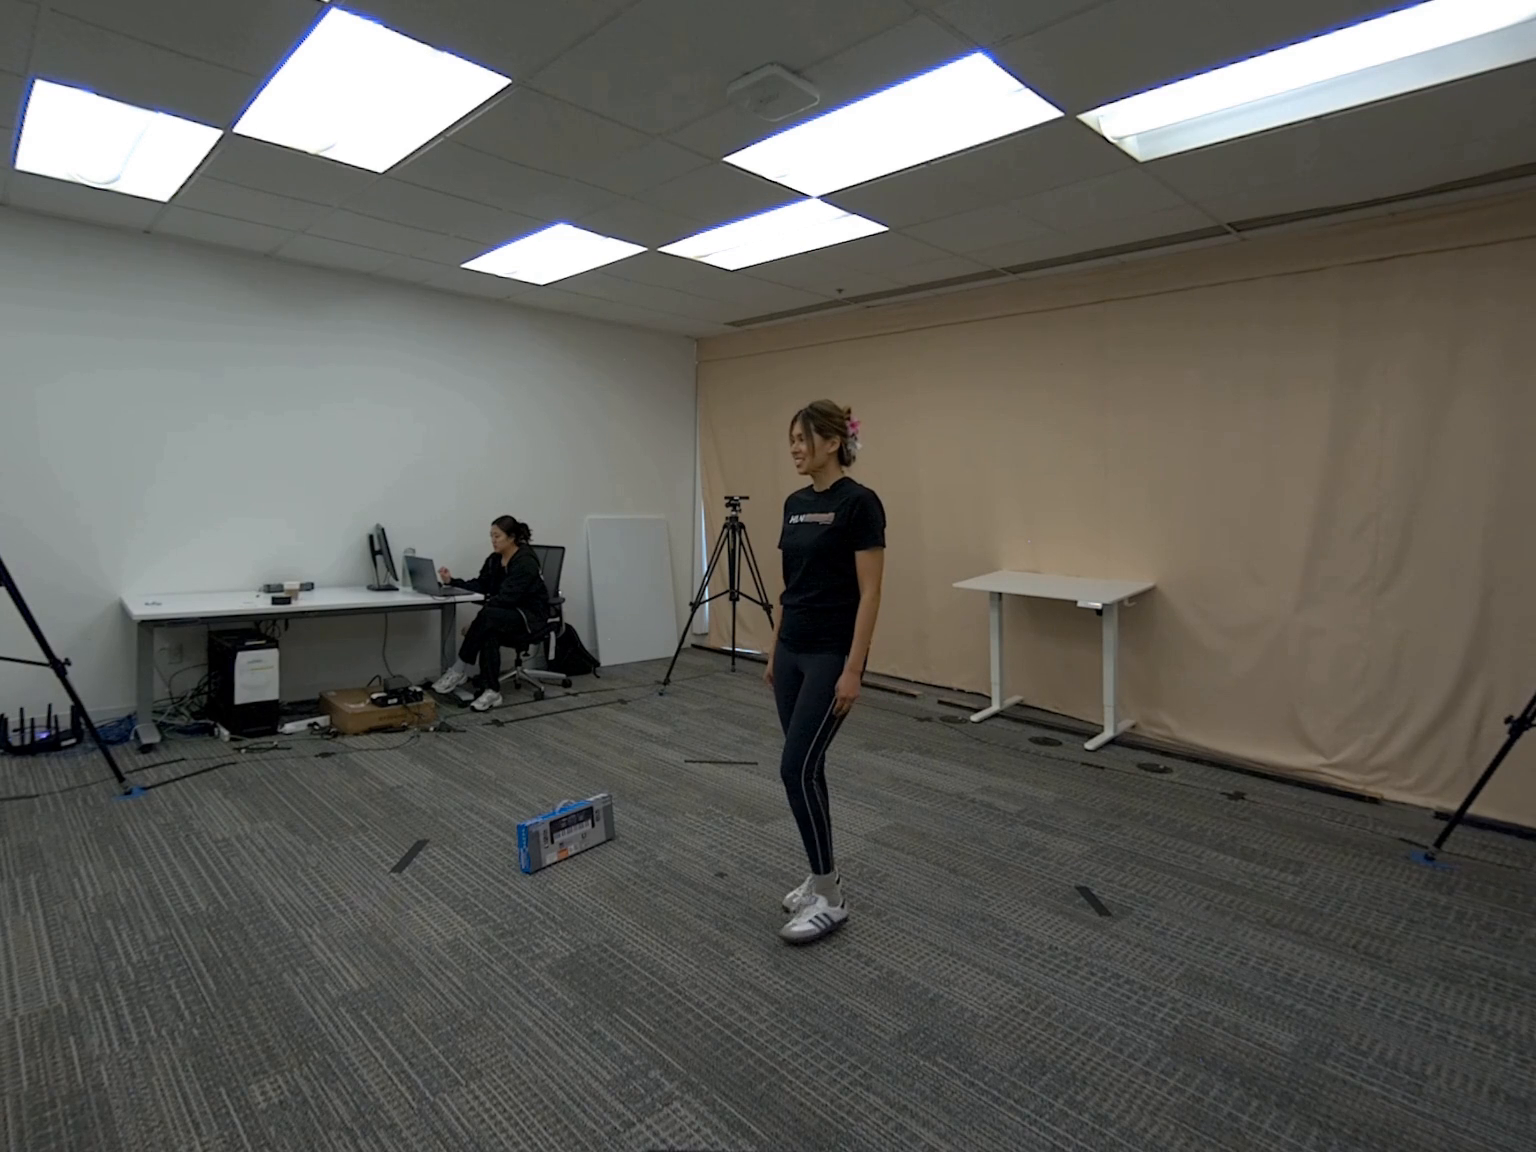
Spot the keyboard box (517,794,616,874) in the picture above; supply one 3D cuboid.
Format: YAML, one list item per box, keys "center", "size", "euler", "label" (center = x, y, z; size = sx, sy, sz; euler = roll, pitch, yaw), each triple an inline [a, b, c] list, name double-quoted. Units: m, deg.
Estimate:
- center: [-0.779, 0.988, 3.255]
  size: [0.060, 0.176, 0.427]
  euler: [-6, -1, 35]
  label: "keyboard box"
